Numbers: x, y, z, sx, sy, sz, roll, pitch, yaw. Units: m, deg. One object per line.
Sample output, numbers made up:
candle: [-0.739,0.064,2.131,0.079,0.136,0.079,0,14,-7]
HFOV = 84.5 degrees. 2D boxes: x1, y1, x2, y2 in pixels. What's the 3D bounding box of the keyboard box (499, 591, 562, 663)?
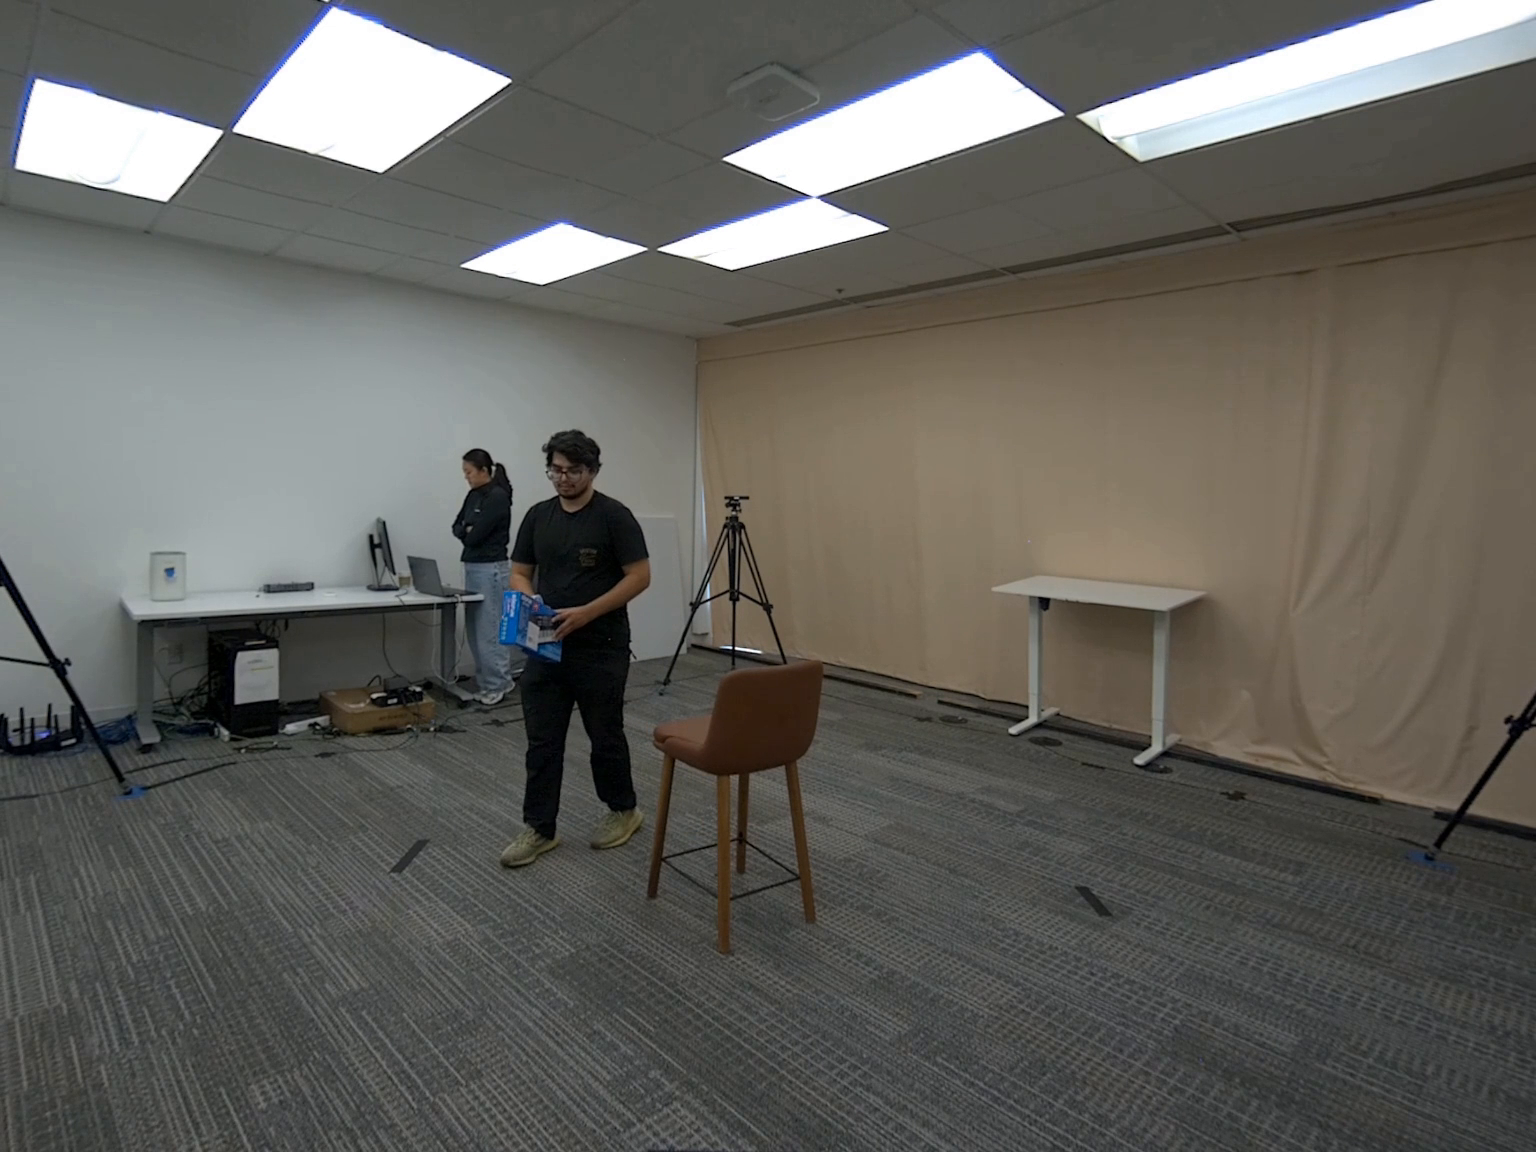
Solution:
keyboard box: [-0.815,0.184,2.878,0.059,0.178,0.429,0,-14,6]
